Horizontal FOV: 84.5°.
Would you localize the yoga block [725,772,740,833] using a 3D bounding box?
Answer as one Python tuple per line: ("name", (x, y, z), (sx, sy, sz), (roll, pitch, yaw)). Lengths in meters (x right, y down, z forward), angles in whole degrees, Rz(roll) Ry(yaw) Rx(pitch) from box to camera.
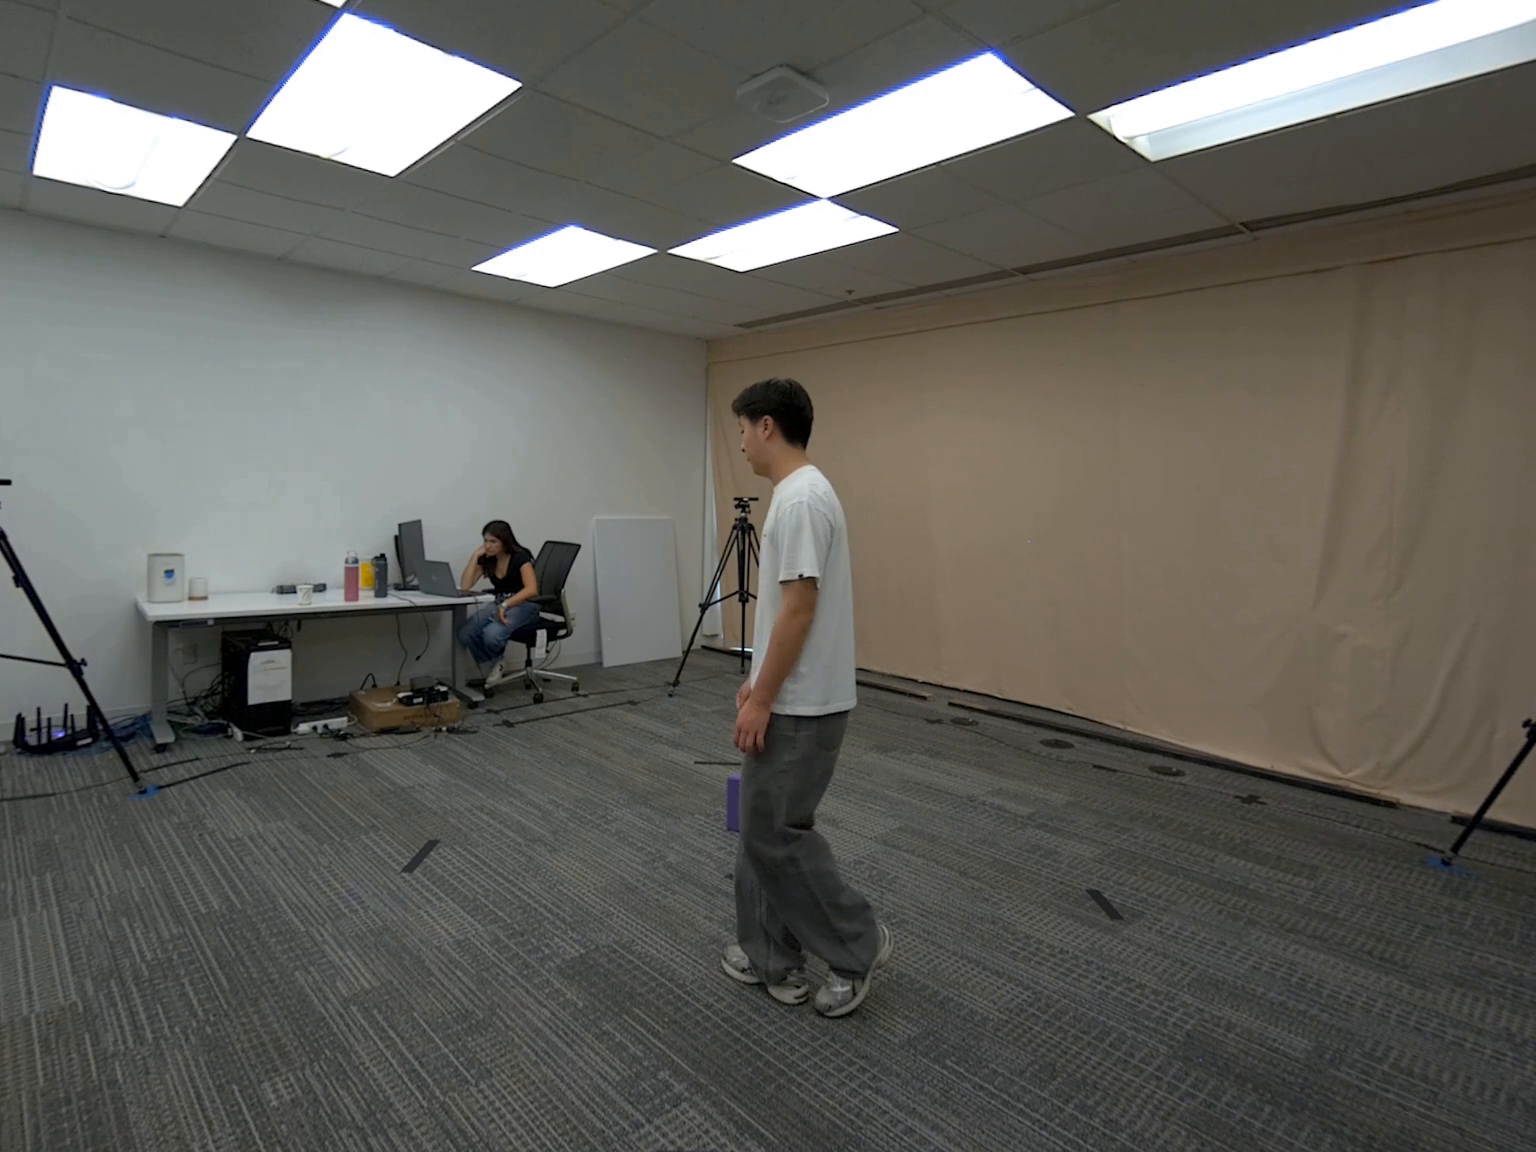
("yoga block", (-0.104, 0.959, 3.534), (0.151, 0.229, 0.075), (3, 2, 17))
